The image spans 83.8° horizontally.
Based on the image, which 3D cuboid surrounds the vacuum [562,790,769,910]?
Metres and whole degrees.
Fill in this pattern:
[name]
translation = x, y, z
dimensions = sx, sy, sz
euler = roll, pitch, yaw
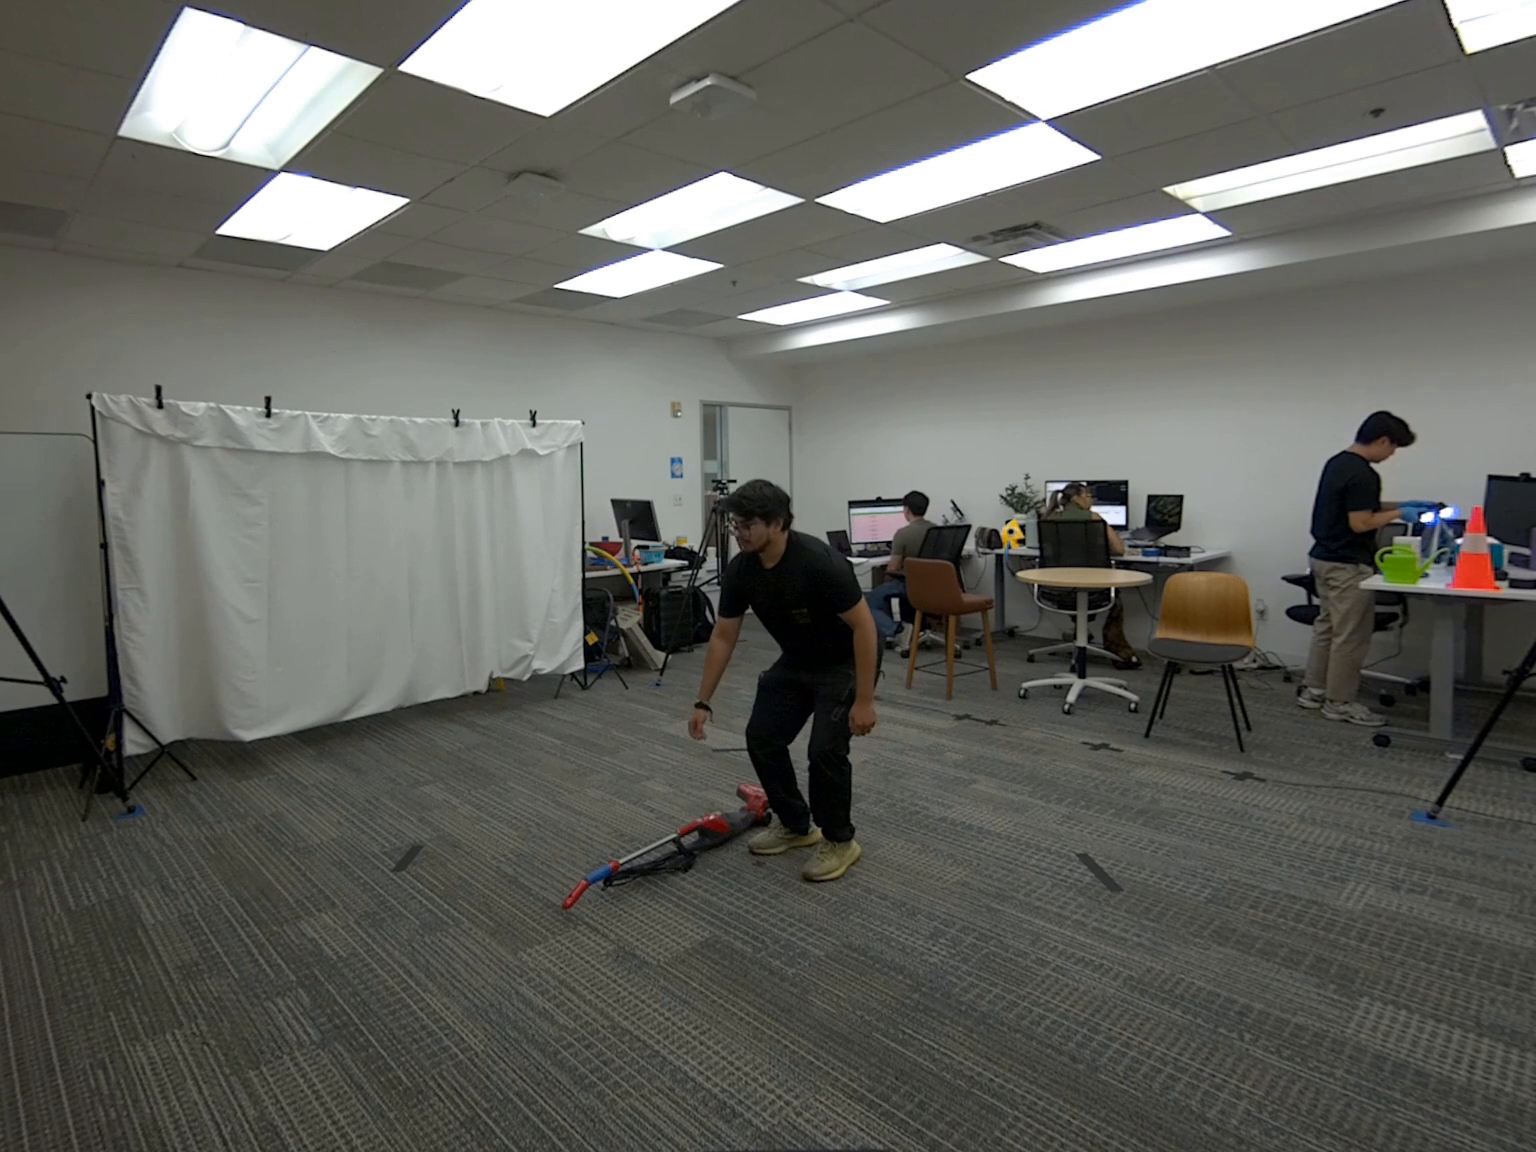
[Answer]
[vacuum]
translation = -0.330, 0.992, 3.104
dimensions = 0.260, 0.143, 1.024
euler = 1, 7, 37
